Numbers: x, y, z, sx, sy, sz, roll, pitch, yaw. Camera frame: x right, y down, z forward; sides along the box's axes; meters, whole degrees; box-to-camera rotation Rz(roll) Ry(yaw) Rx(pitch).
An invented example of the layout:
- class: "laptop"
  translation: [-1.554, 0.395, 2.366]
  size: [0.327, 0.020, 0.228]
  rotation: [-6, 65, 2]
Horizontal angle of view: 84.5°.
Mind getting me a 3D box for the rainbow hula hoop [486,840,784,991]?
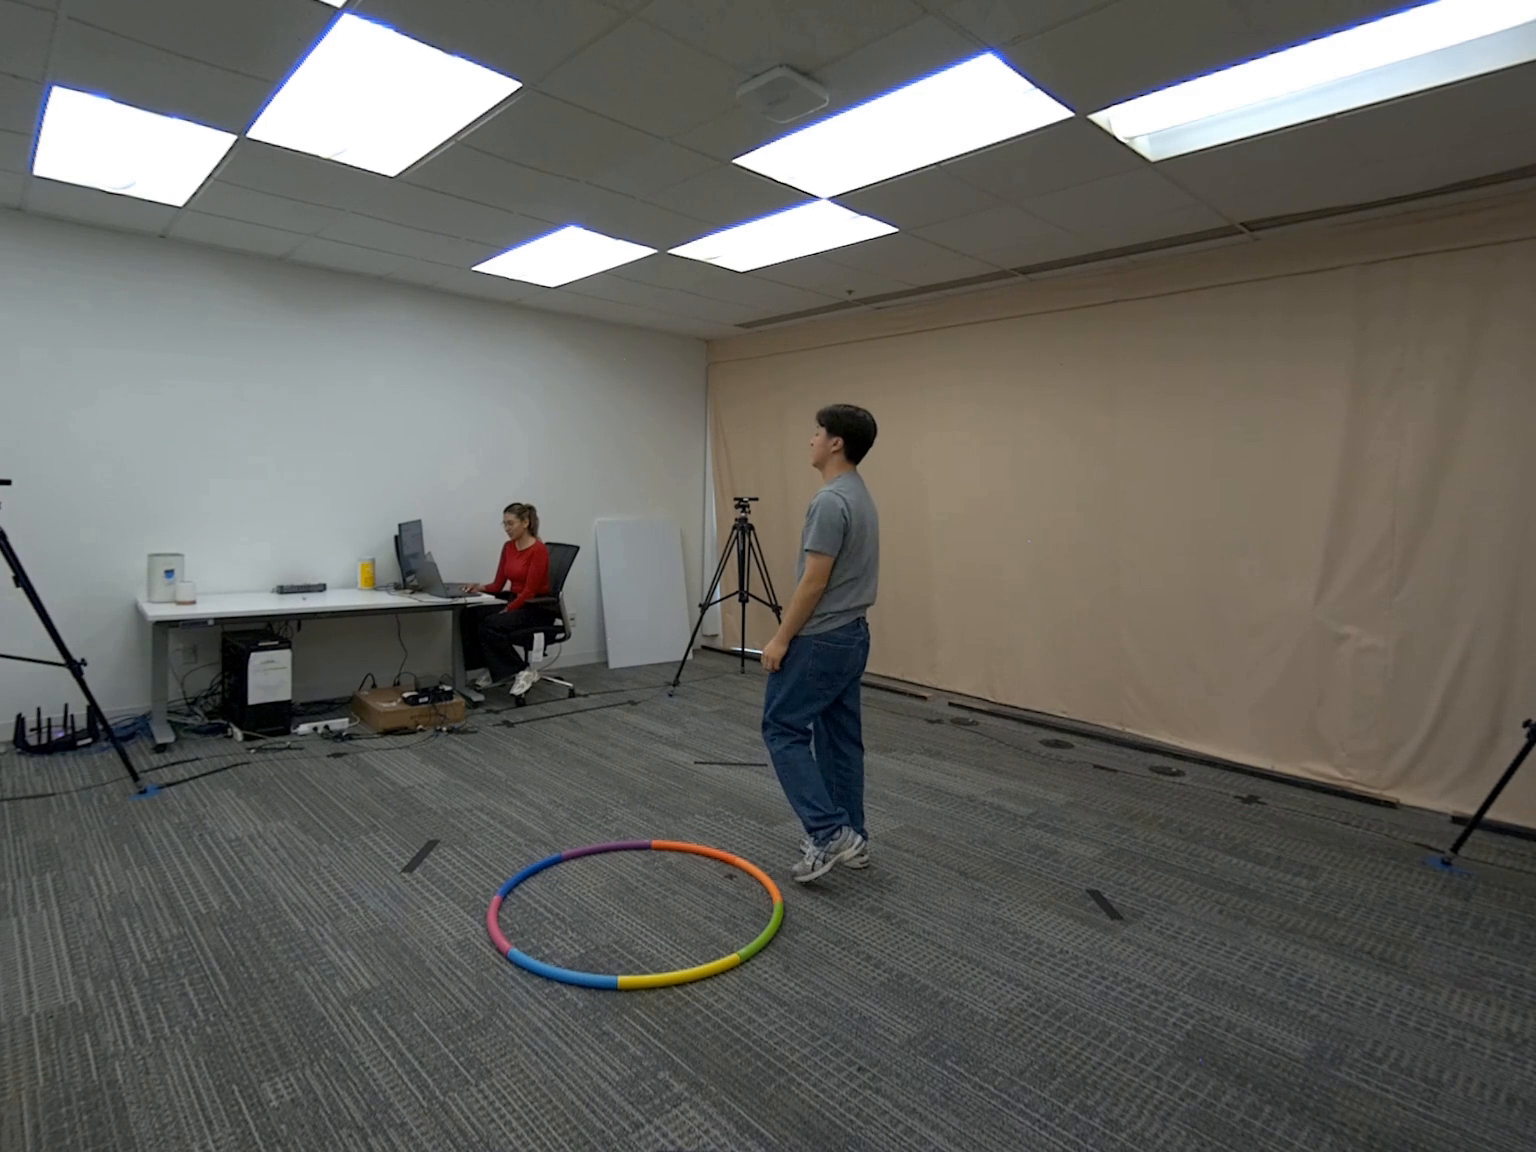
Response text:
- class: "rainbow hula hoop"
  translation: [-0.451, 1.093, 2.854]
  size: [0.978, 0.035, 0.982]
  rotation: [1, 5, -1]
